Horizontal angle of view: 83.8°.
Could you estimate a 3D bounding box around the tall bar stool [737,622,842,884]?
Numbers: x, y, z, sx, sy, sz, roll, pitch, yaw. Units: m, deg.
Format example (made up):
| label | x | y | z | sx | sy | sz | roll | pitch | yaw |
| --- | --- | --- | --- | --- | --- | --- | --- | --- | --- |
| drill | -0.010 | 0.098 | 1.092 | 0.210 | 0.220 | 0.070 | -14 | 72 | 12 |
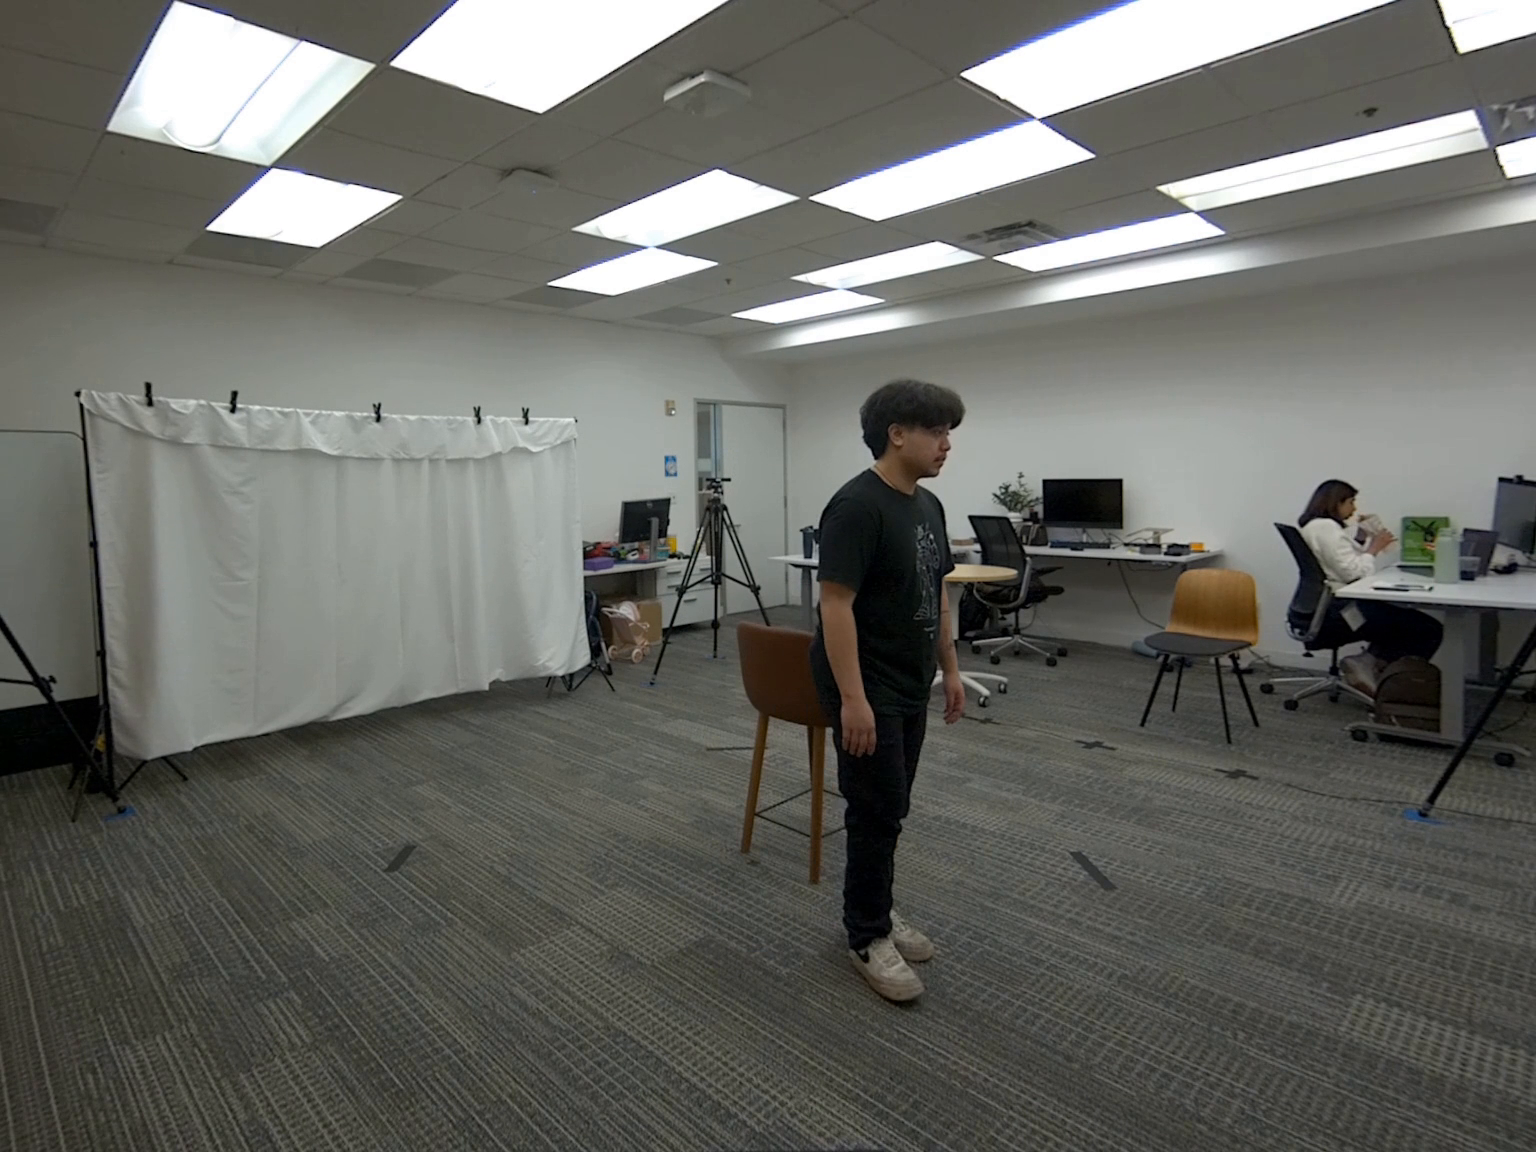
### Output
| label | x | y | z | sx | sy | sz | roll | pitch | yaw |
| --- | --- | --- | --- | --- | --- | --- | --- | --- | --- |
| tall bar stool | 0.174 | 0.598 | 3.194 | 0.455 | 0.886 | 0.470 | -6 | 6 | -44 |
